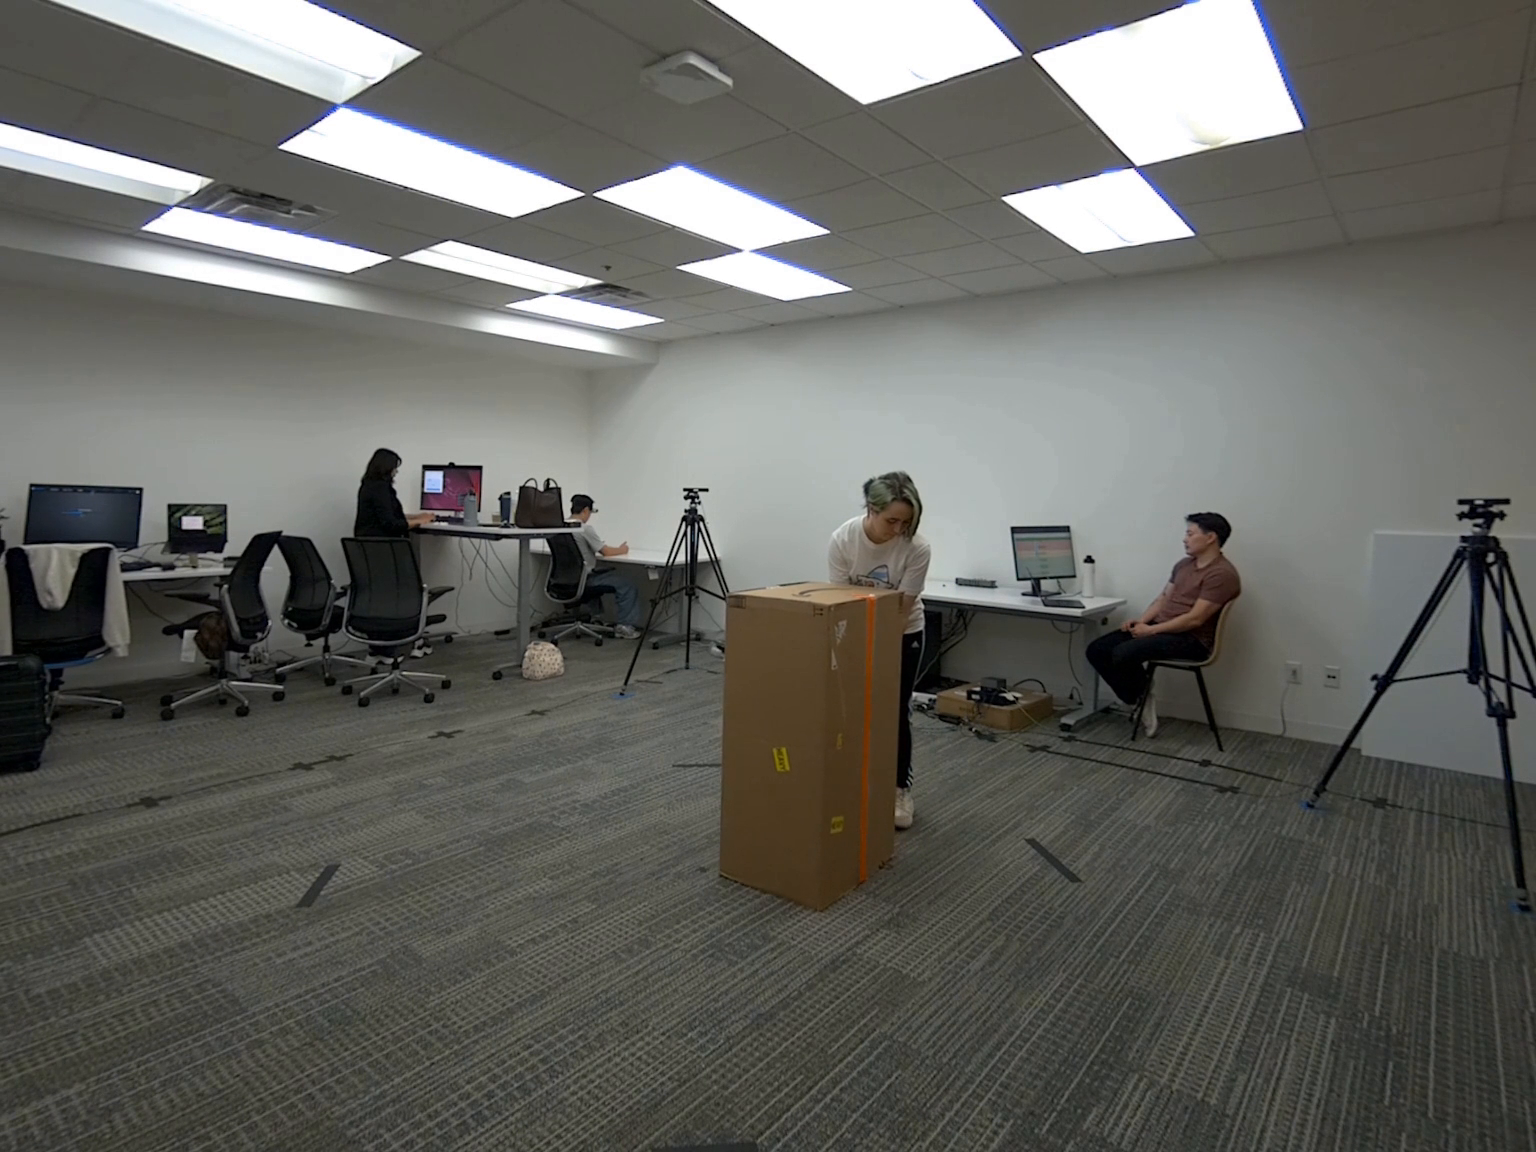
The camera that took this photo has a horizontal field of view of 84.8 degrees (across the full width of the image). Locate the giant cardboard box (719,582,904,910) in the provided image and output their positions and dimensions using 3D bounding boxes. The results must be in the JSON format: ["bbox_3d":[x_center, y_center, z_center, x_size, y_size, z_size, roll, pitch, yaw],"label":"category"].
[{"bbox_3d":[0.162,0.568,3.132,0.461,1.025,0.567,3,3,34],"label":"giant cardboard box"}]
